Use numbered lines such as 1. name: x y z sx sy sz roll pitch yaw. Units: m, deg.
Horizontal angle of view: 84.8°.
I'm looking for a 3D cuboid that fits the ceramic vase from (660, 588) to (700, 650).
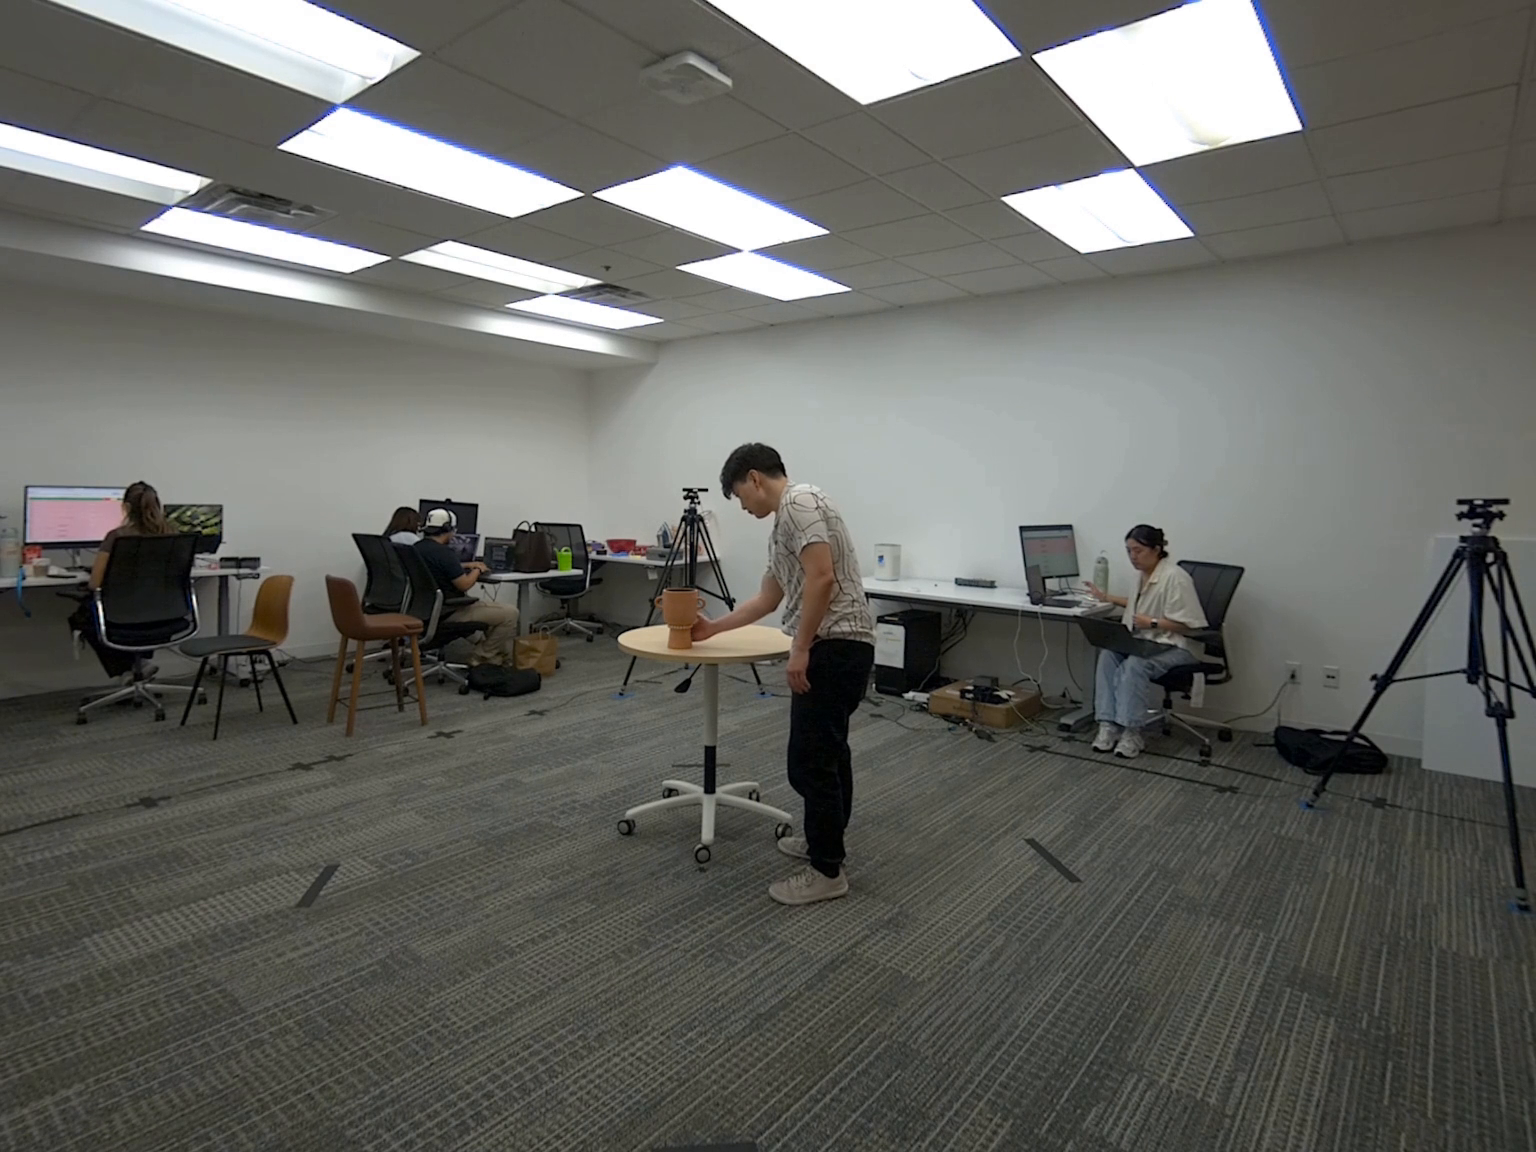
1. ceramic vase: -0.351 0.161 3.279 0.164 0.219 0.130 5 6 43
